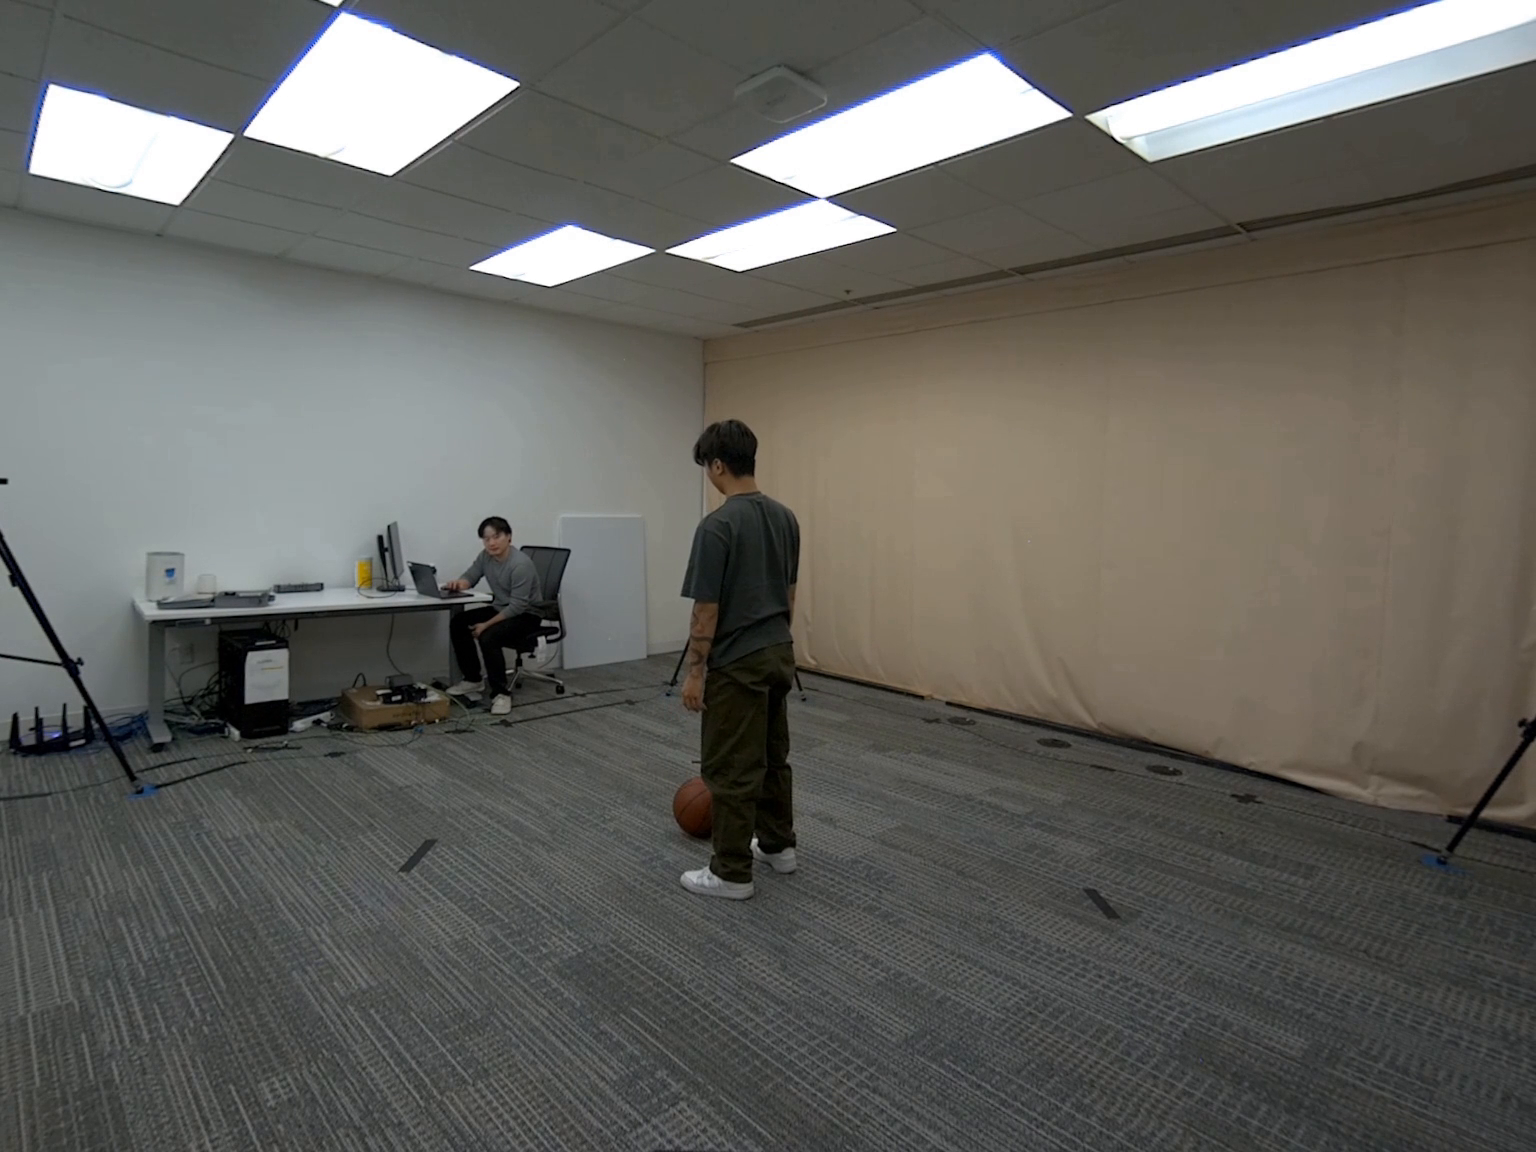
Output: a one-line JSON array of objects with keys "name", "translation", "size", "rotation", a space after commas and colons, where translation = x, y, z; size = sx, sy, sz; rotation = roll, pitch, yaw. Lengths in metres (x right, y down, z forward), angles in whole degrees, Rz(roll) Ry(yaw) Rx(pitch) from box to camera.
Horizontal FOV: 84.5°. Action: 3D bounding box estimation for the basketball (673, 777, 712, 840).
[{"name": "basketball", "translation": [-0.281, 0.944, 3.471], "size": [0.236, 0.235, 0.237], "rotation": [1, 4, -1]}]
